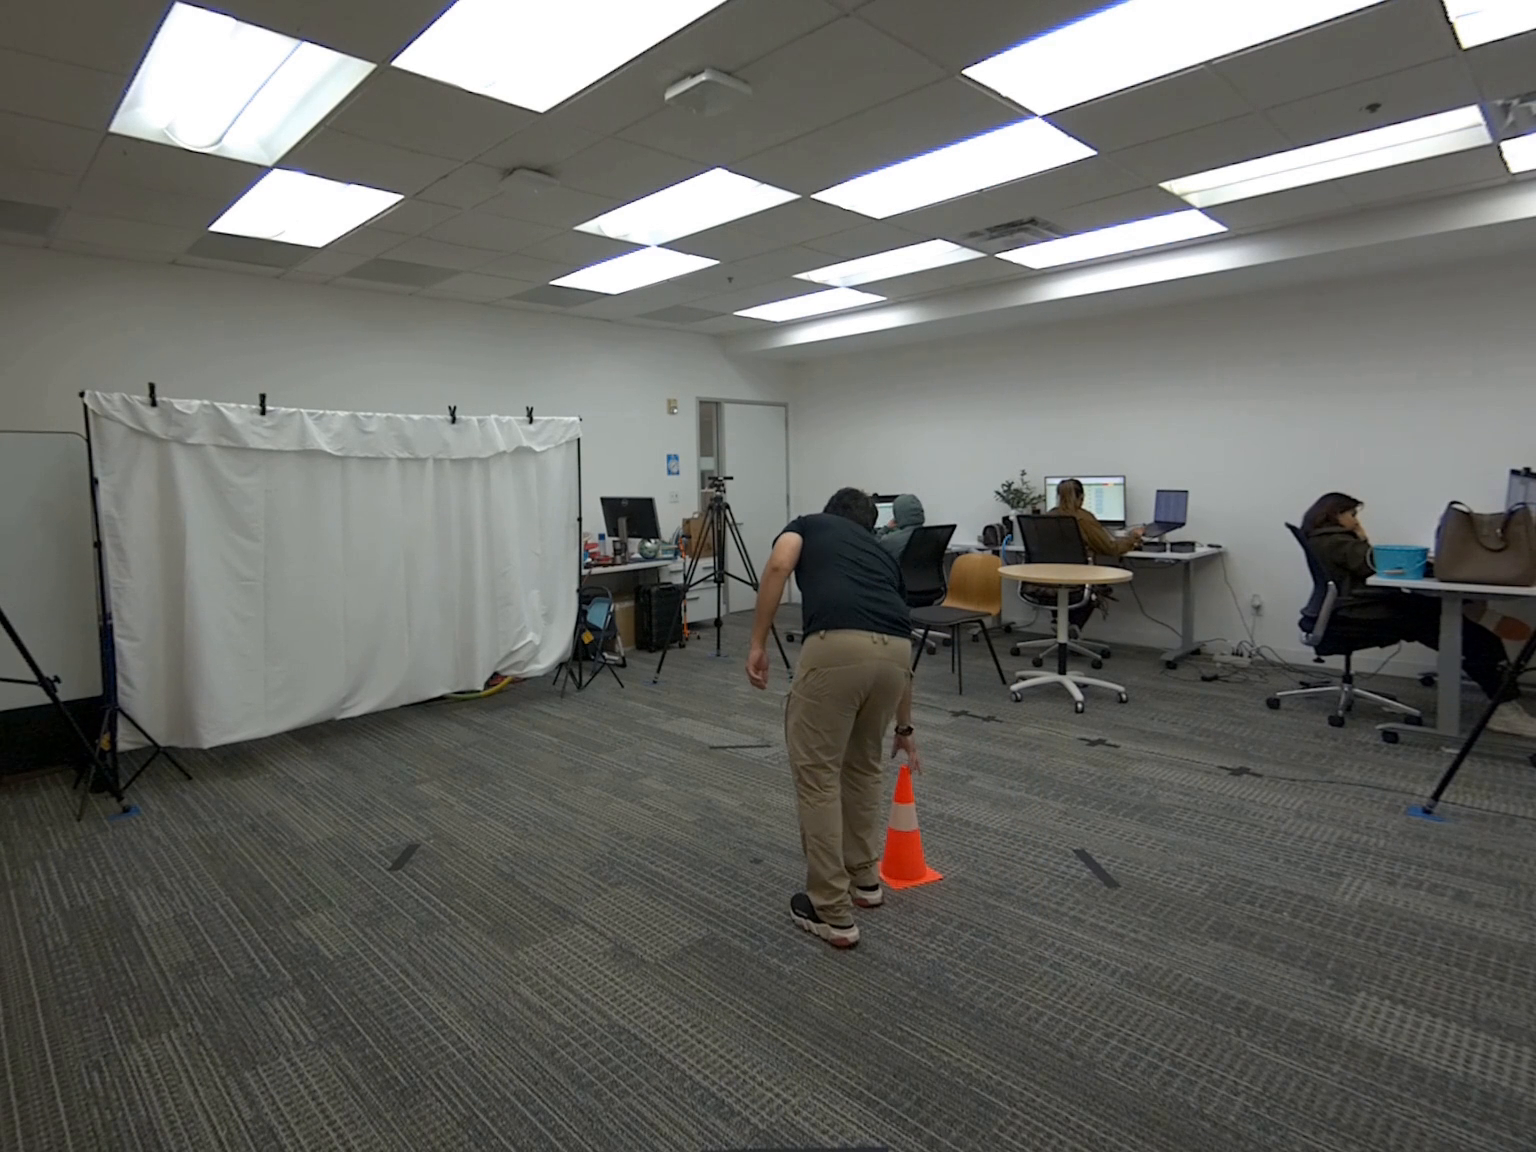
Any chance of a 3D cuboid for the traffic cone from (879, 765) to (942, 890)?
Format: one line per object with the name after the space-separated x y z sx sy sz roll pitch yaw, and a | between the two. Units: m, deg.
0.480 0.859 2.985 0.200 0.382 0.209 -2 6 -17 | traffic cone
